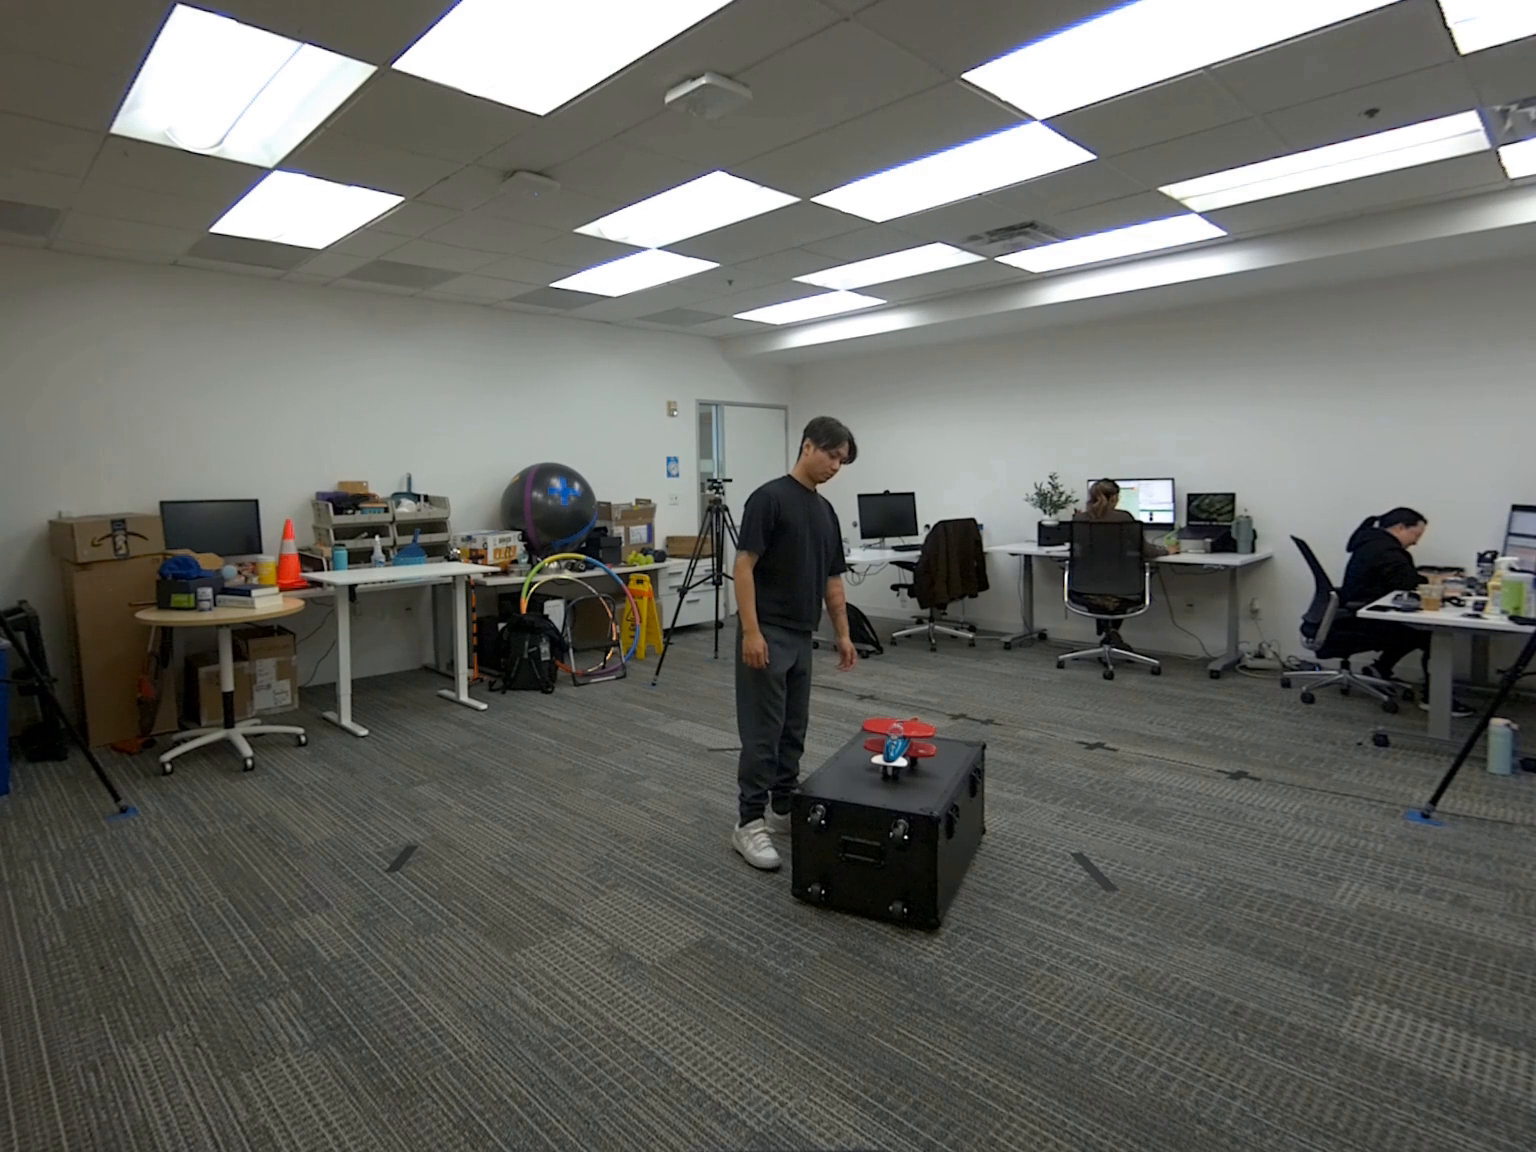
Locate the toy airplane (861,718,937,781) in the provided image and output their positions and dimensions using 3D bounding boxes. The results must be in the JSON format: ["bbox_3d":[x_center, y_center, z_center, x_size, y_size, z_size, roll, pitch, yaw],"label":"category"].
[{"bbox_3d":[0.471,0.597,2.990,0.250,0.156,0.261,-2,5,-5],"label":"toy airplane"}]
